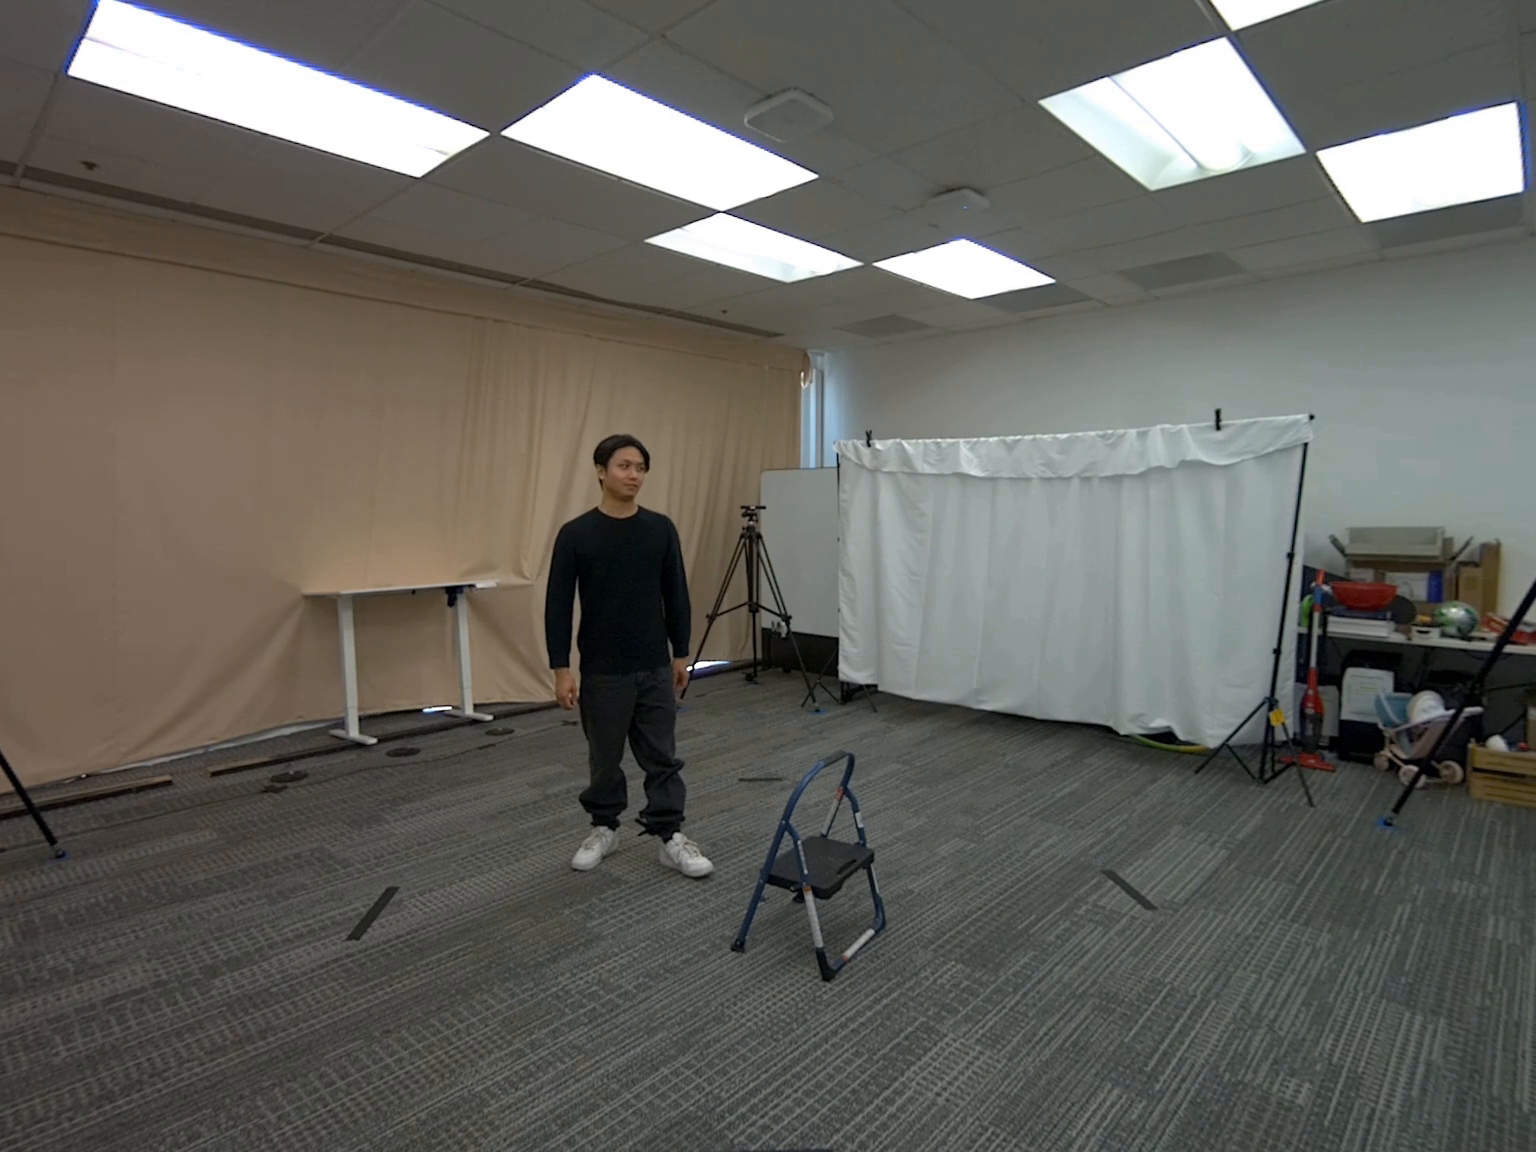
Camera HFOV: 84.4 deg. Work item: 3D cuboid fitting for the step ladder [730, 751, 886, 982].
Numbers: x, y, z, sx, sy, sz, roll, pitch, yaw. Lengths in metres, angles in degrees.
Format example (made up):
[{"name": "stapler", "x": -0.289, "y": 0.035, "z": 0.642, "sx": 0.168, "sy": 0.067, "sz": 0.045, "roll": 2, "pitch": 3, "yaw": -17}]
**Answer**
[{"name": "step ladder", "x": 0.145, "y": 0.865, "z": 2.698, "sx": 0.360, "sy": 0.605, "sz": 0.418, "roll": 2, "pitch": 4, "yaw": 33}]
